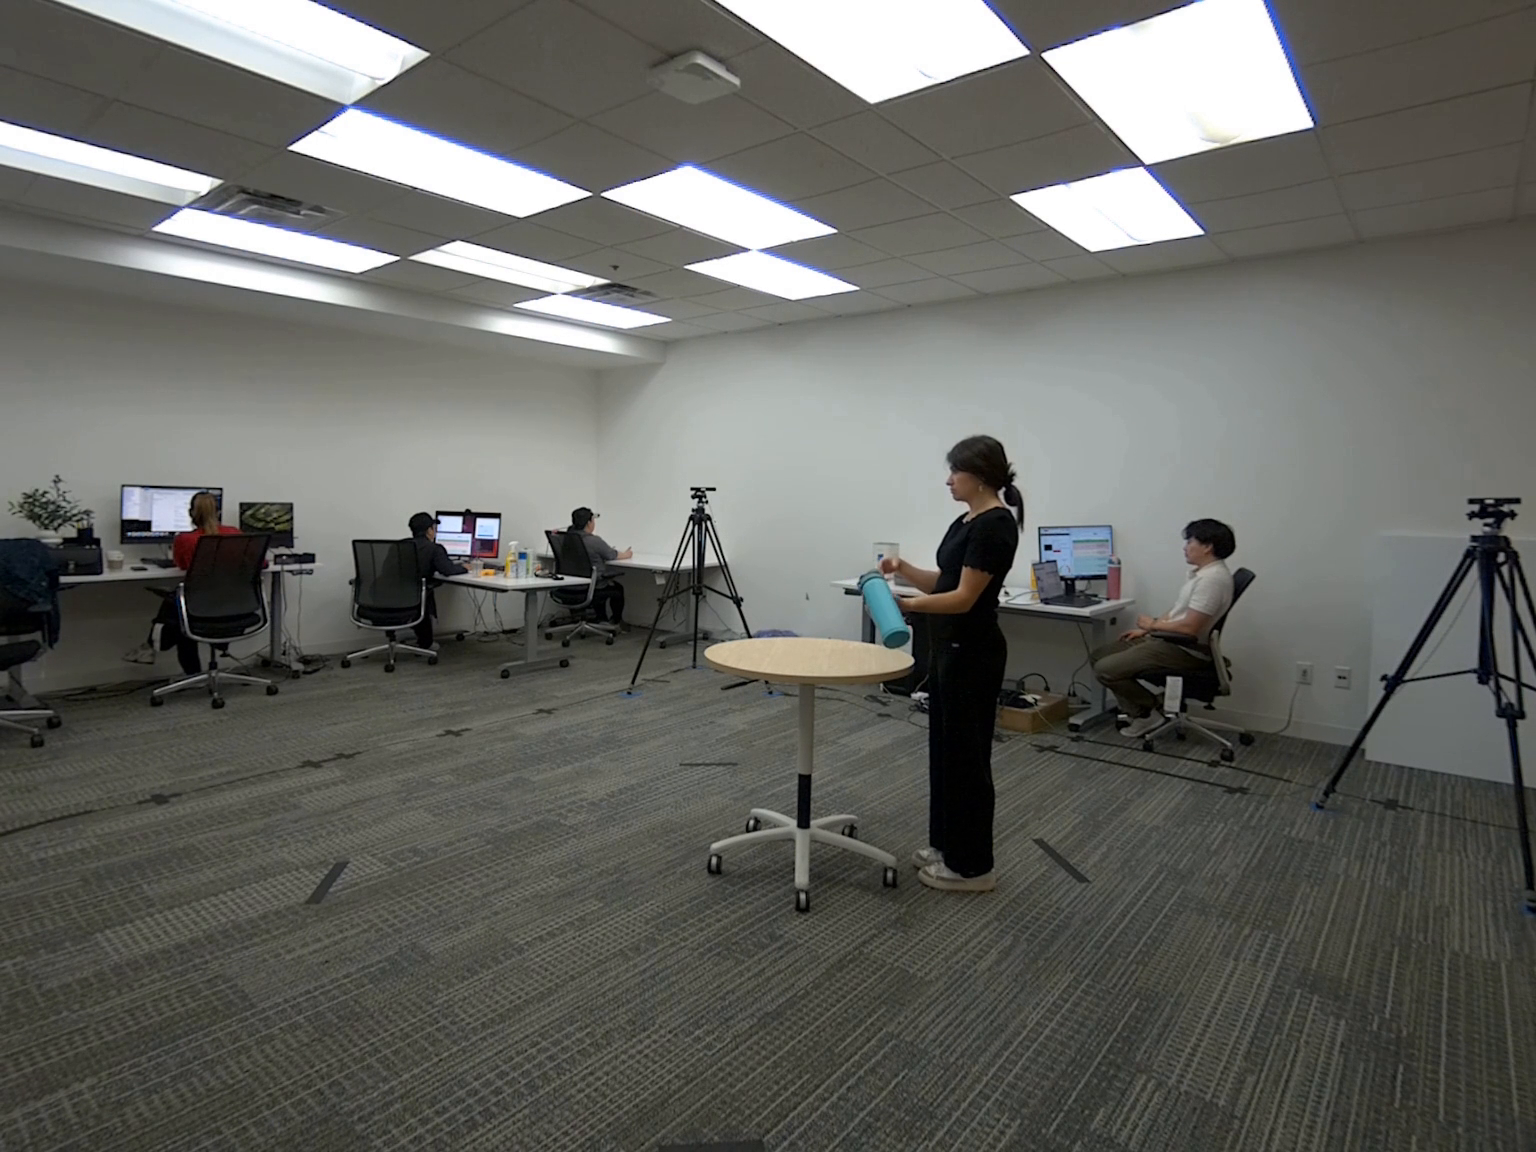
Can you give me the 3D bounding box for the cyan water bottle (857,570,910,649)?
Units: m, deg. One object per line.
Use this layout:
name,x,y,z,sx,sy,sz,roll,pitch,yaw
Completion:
cyan water bottle,0.362,0.087,2.707,0.091,0.090,0.294,-1,43,-16
